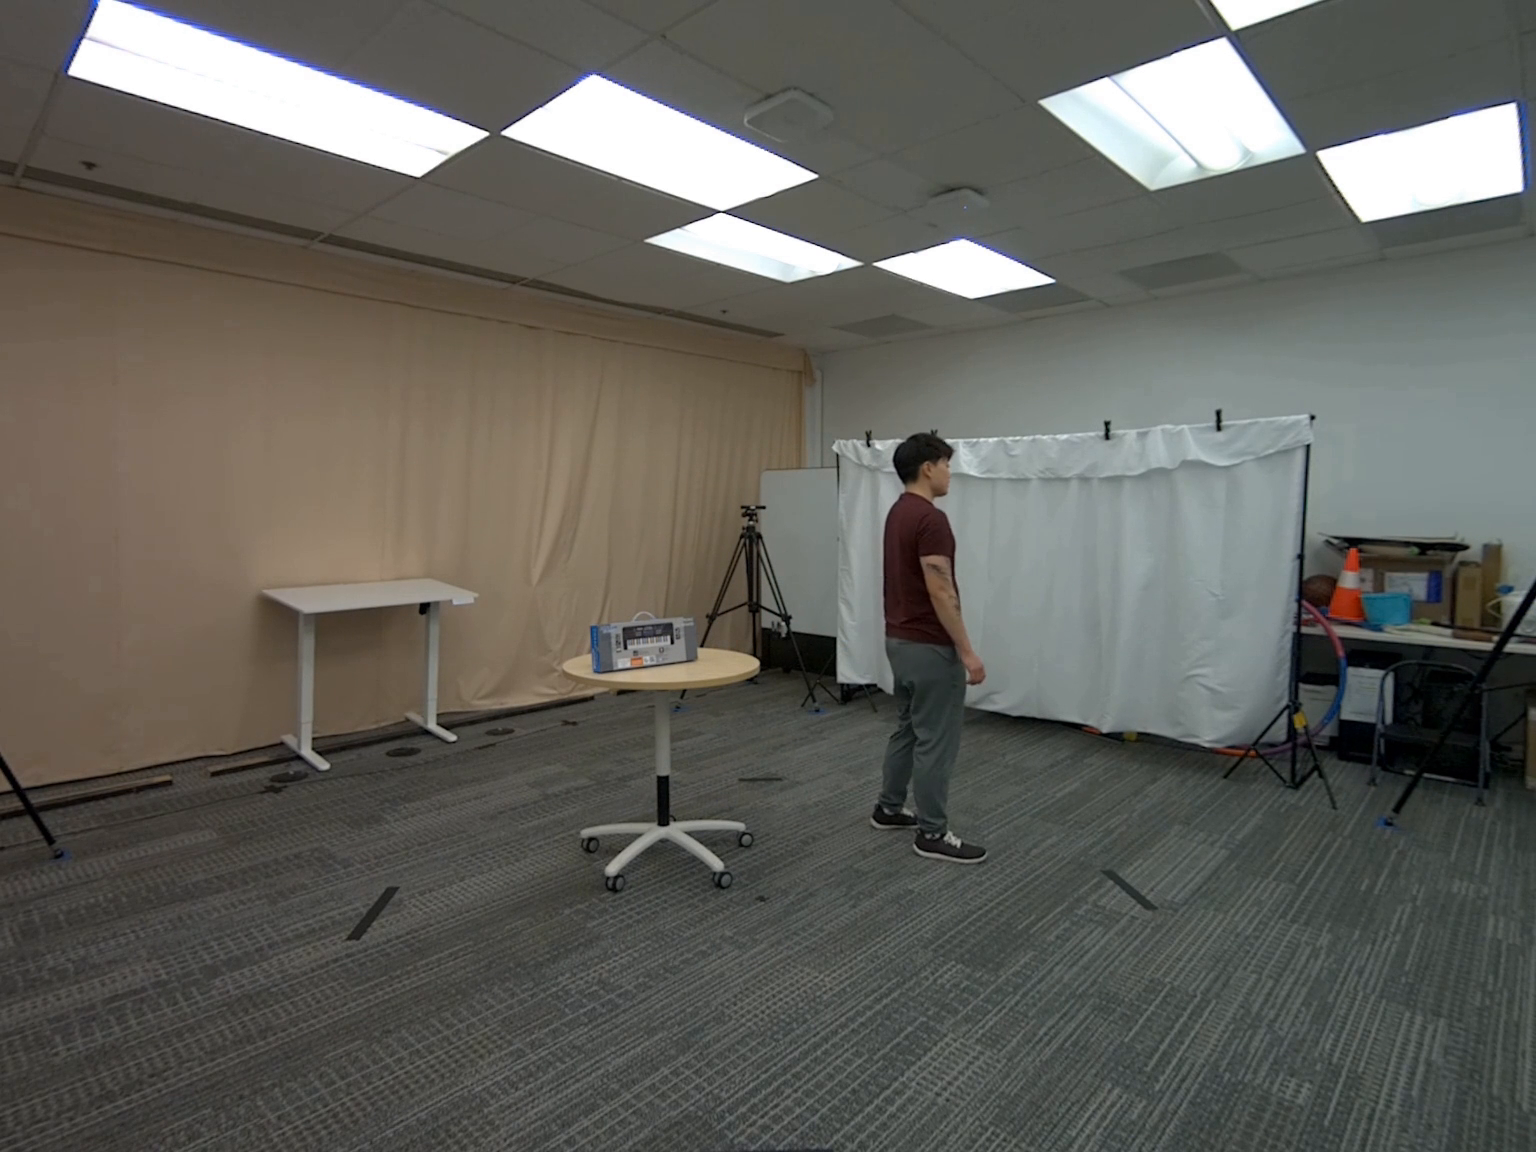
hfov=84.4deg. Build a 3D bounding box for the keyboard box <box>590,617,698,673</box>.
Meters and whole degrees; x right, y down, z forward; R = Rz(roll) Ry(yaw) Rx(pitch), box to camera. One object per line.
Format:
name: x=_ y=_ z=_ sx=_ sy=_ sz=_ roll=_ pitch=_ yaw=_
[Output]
keyboard box: x=-0.468 y=0.260 z=3.217 sx=0.424 sy=0.176 sz=0.061 roll=-3 pitch=-4 yaw=-37
